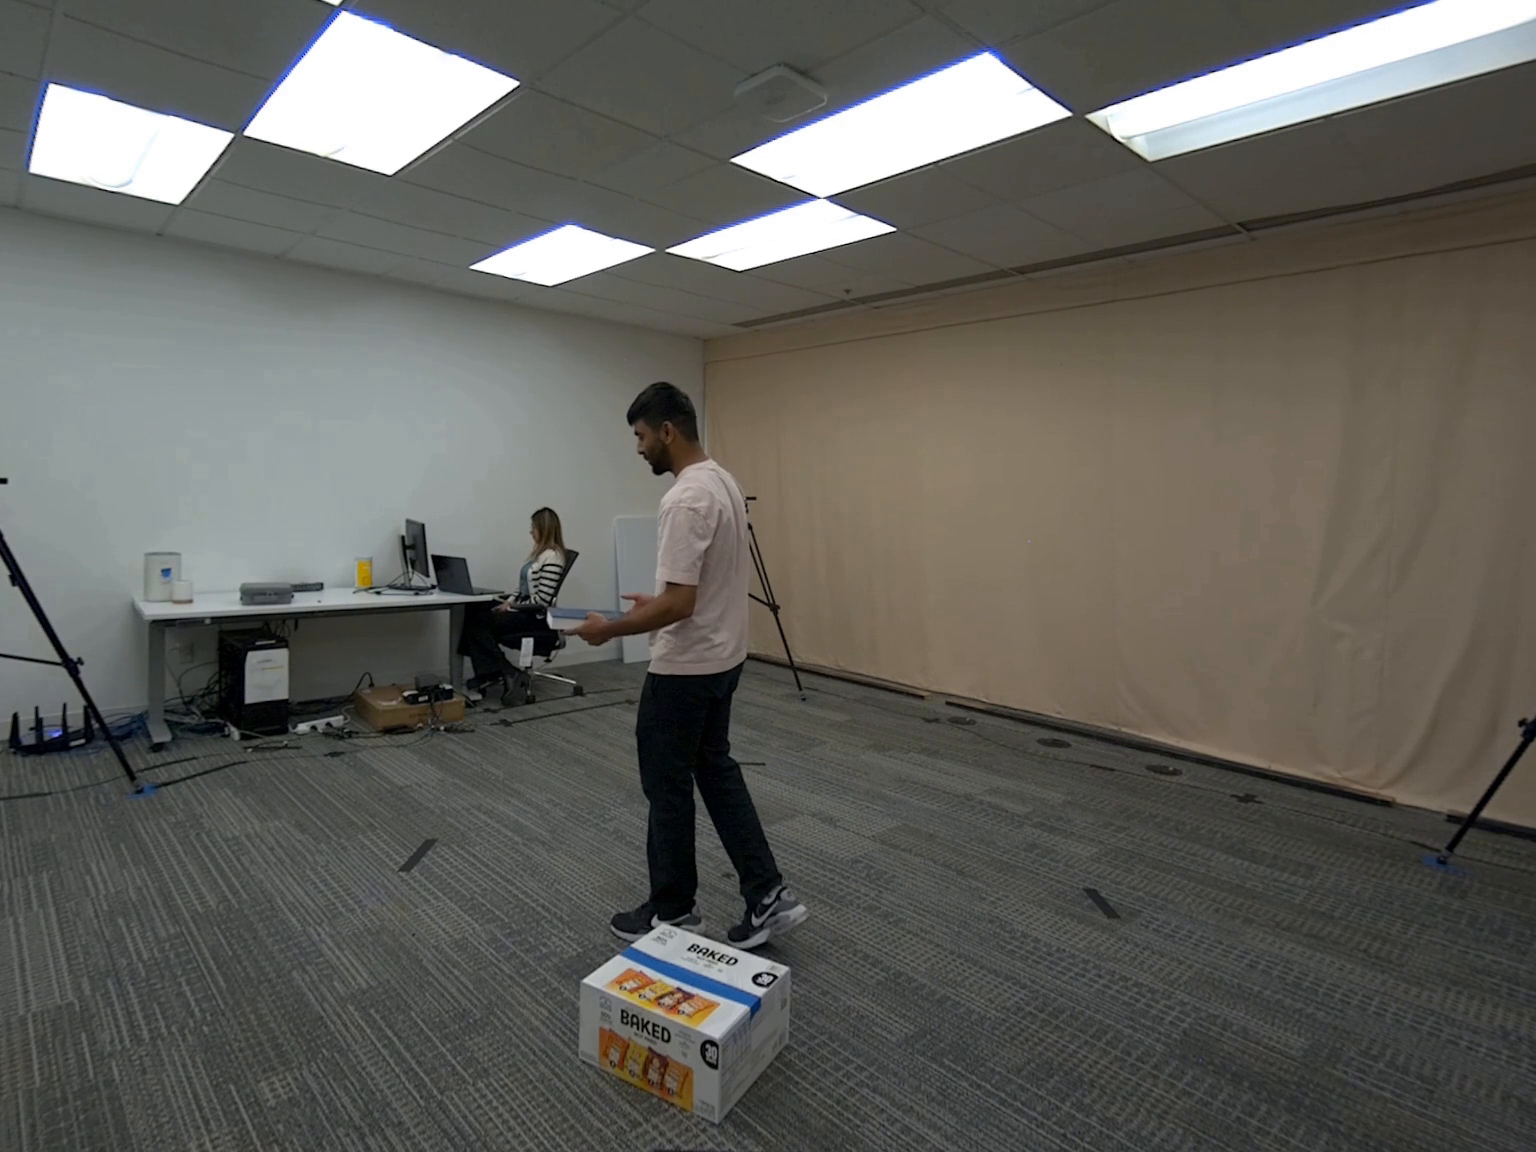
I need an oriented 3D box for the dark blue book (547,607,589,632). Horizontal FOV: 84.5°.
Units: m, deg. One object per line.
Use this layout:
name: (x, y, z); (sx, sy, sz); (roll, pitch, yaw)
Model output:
dark blue book: (-0.573, 0.136, 2.630); (0.241, 0.045, 0.166); (4, 7, -19)
